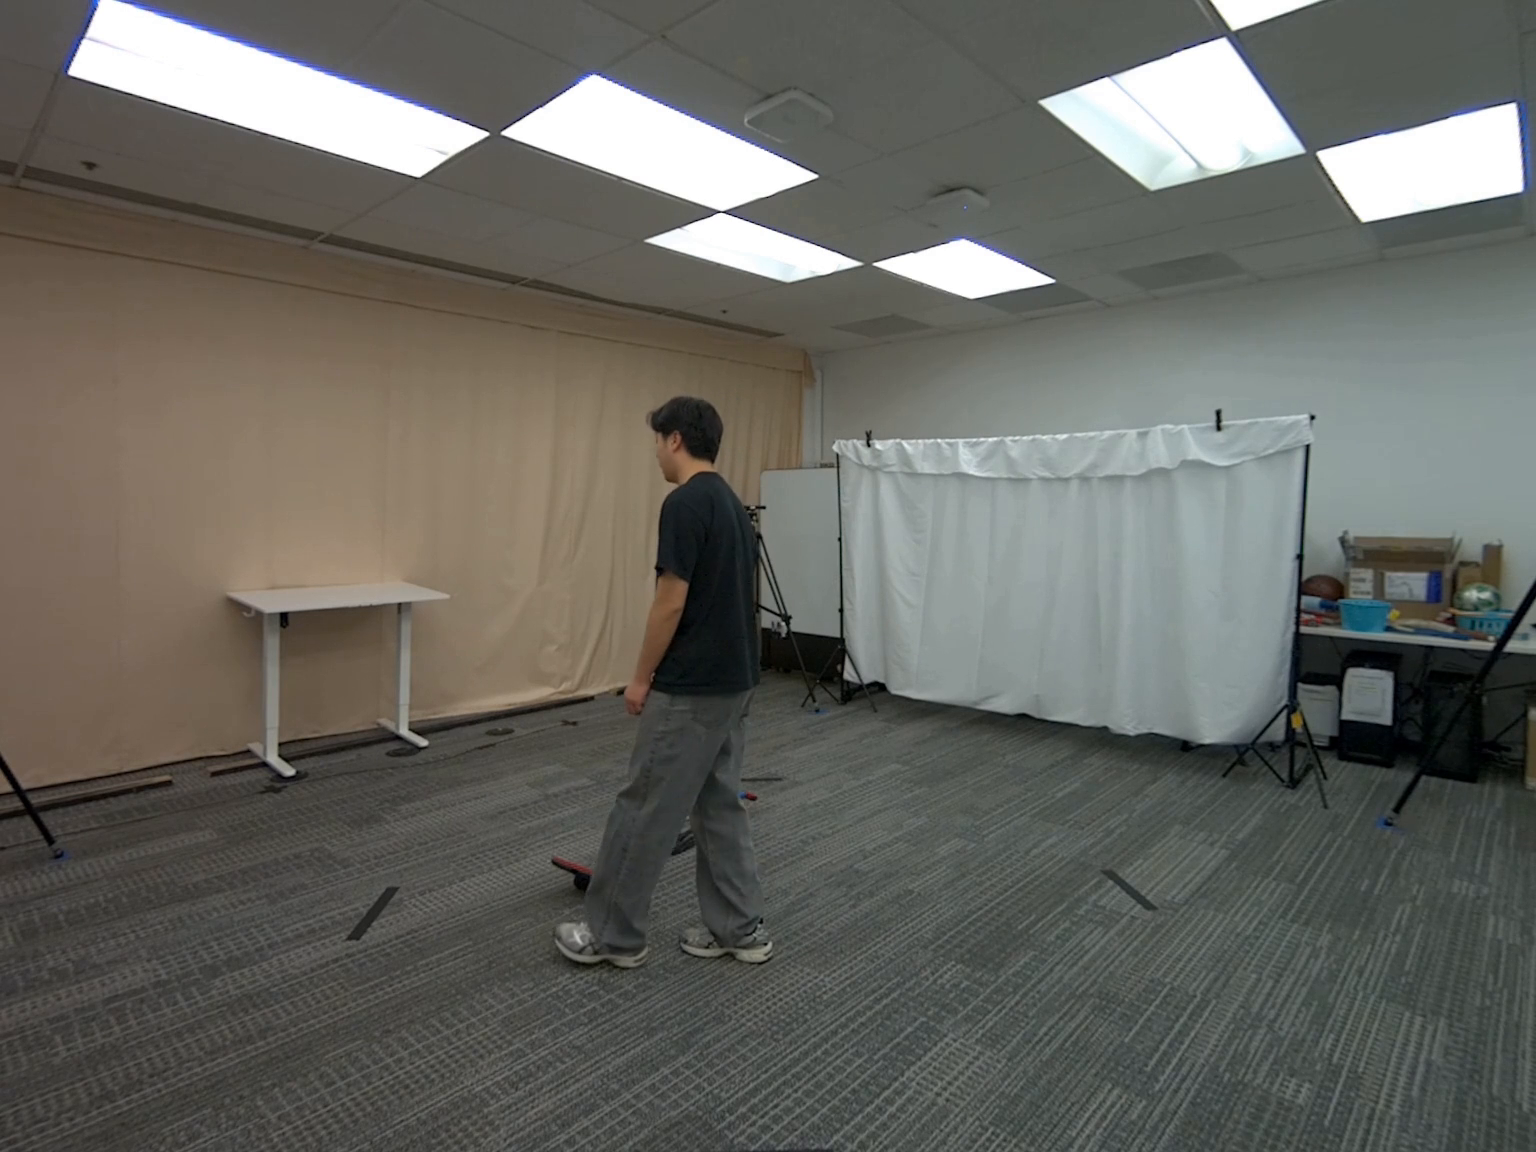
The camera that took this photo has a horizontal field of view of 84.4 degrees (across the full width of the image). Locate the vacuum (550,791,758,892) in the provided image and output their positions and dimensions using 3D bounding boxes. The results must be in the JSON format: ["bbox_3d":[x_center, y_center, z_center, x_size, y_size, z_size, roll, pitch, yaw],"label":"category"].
[{"bbox_3d":[-0.367,1.054,3.414,0.261,0.143,1.019,4,6,36],"label":"vacuum"}]
